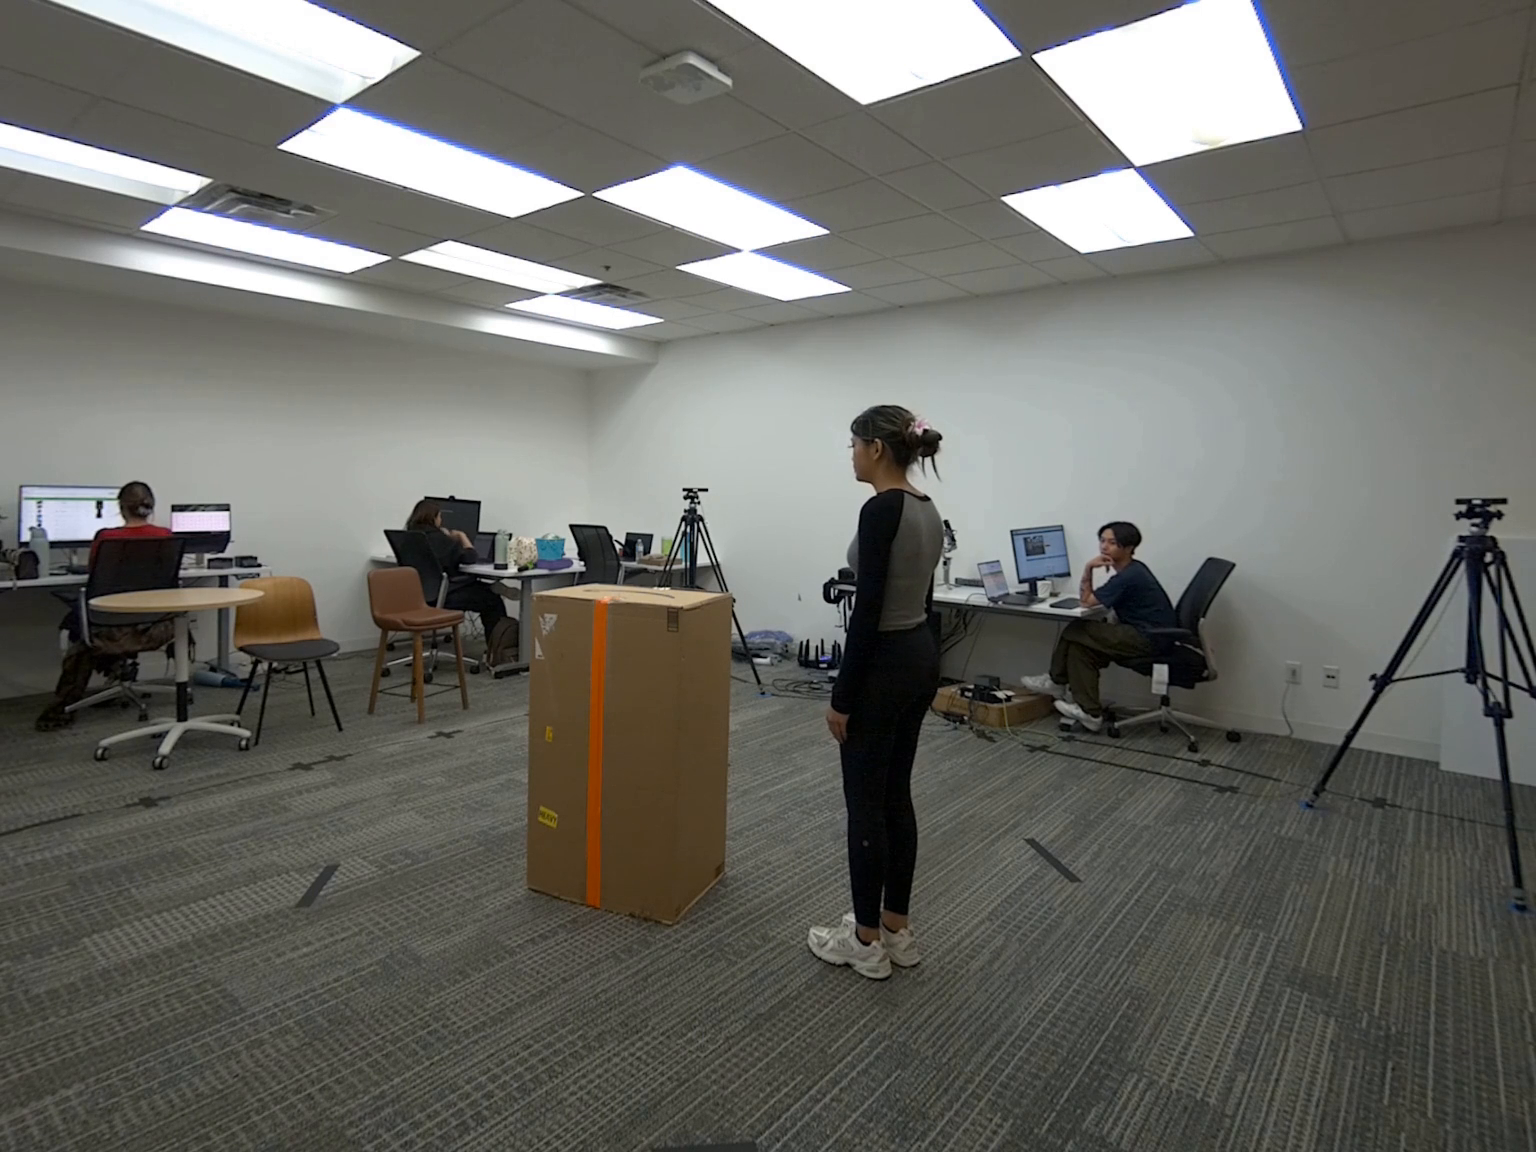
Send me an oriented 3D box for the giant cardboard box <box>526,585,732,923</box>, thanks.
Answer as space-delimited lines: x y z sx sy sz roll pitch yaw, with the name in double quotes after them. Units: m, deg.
-0.490 0.571 2.976 0.598 1.025 0.437 3 2 22 "giant cardboard box"
